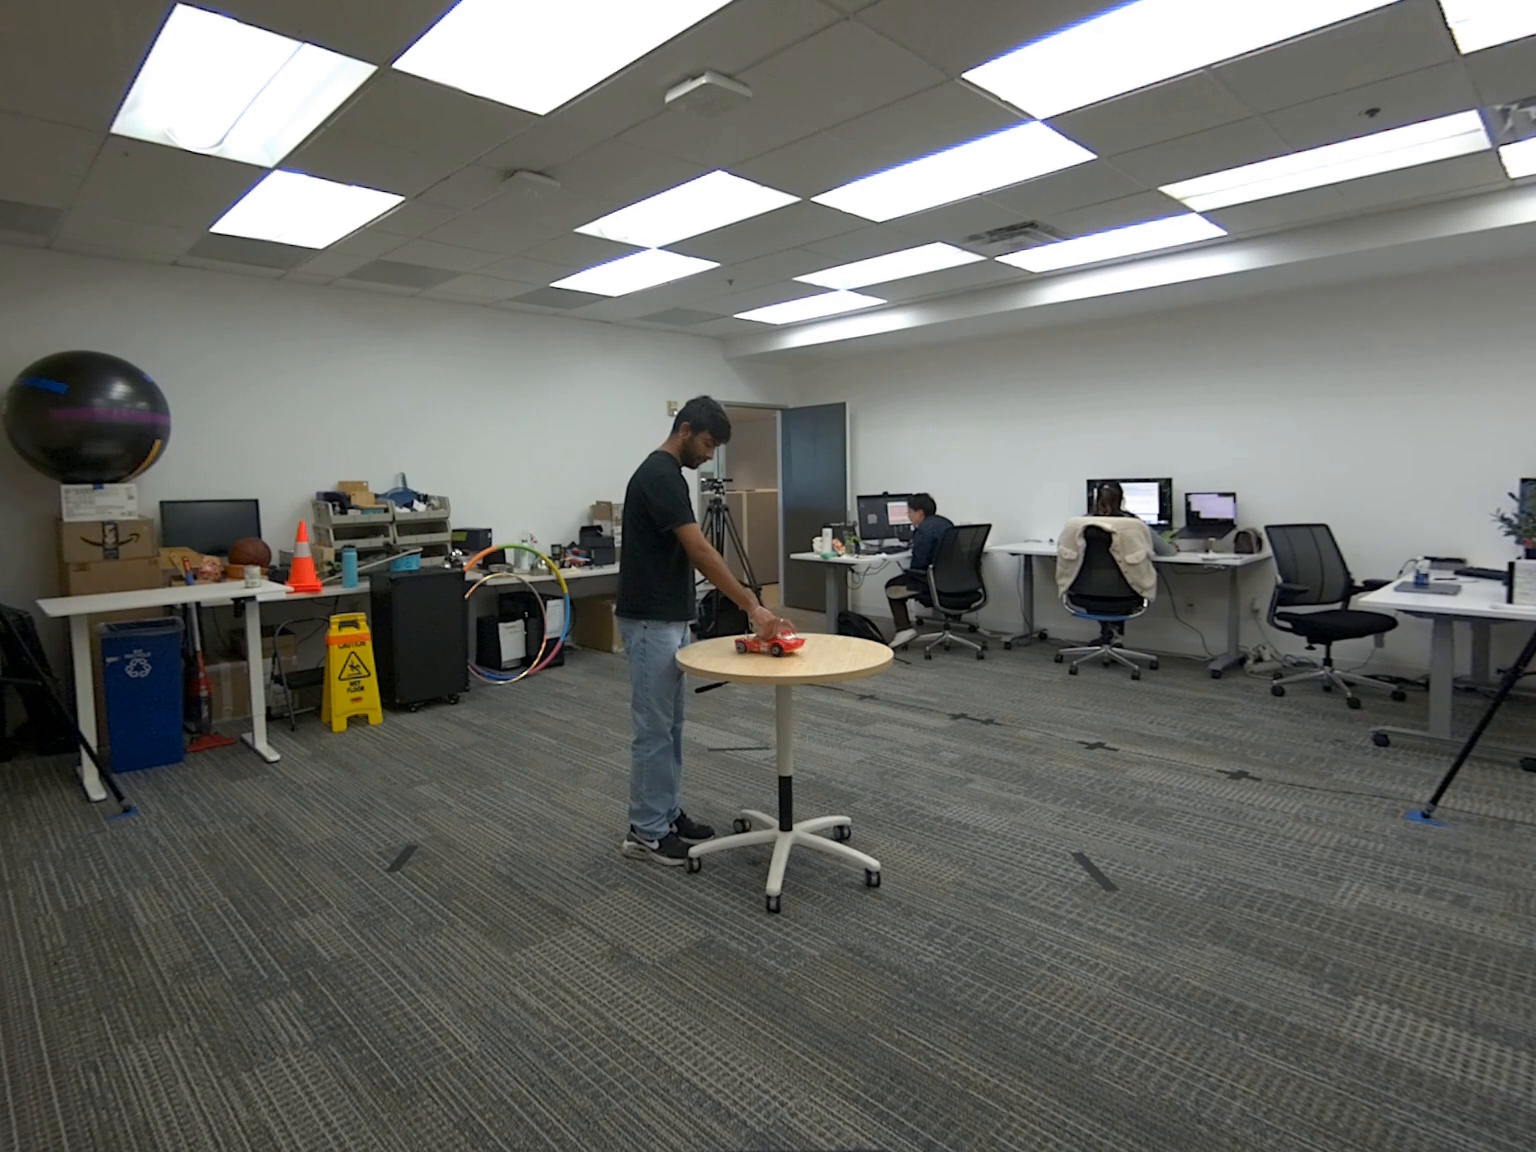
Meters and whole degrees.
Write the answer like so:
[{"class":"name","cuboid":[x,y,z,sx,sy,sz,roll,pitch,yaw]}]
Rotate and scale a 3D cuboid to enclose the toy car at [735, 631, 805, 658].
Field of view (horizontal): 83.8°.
[{"class":"toy car","cuboid":[0.014,0.240,3.005,0.260,0.083,0.127,-11,-1,32]}]
